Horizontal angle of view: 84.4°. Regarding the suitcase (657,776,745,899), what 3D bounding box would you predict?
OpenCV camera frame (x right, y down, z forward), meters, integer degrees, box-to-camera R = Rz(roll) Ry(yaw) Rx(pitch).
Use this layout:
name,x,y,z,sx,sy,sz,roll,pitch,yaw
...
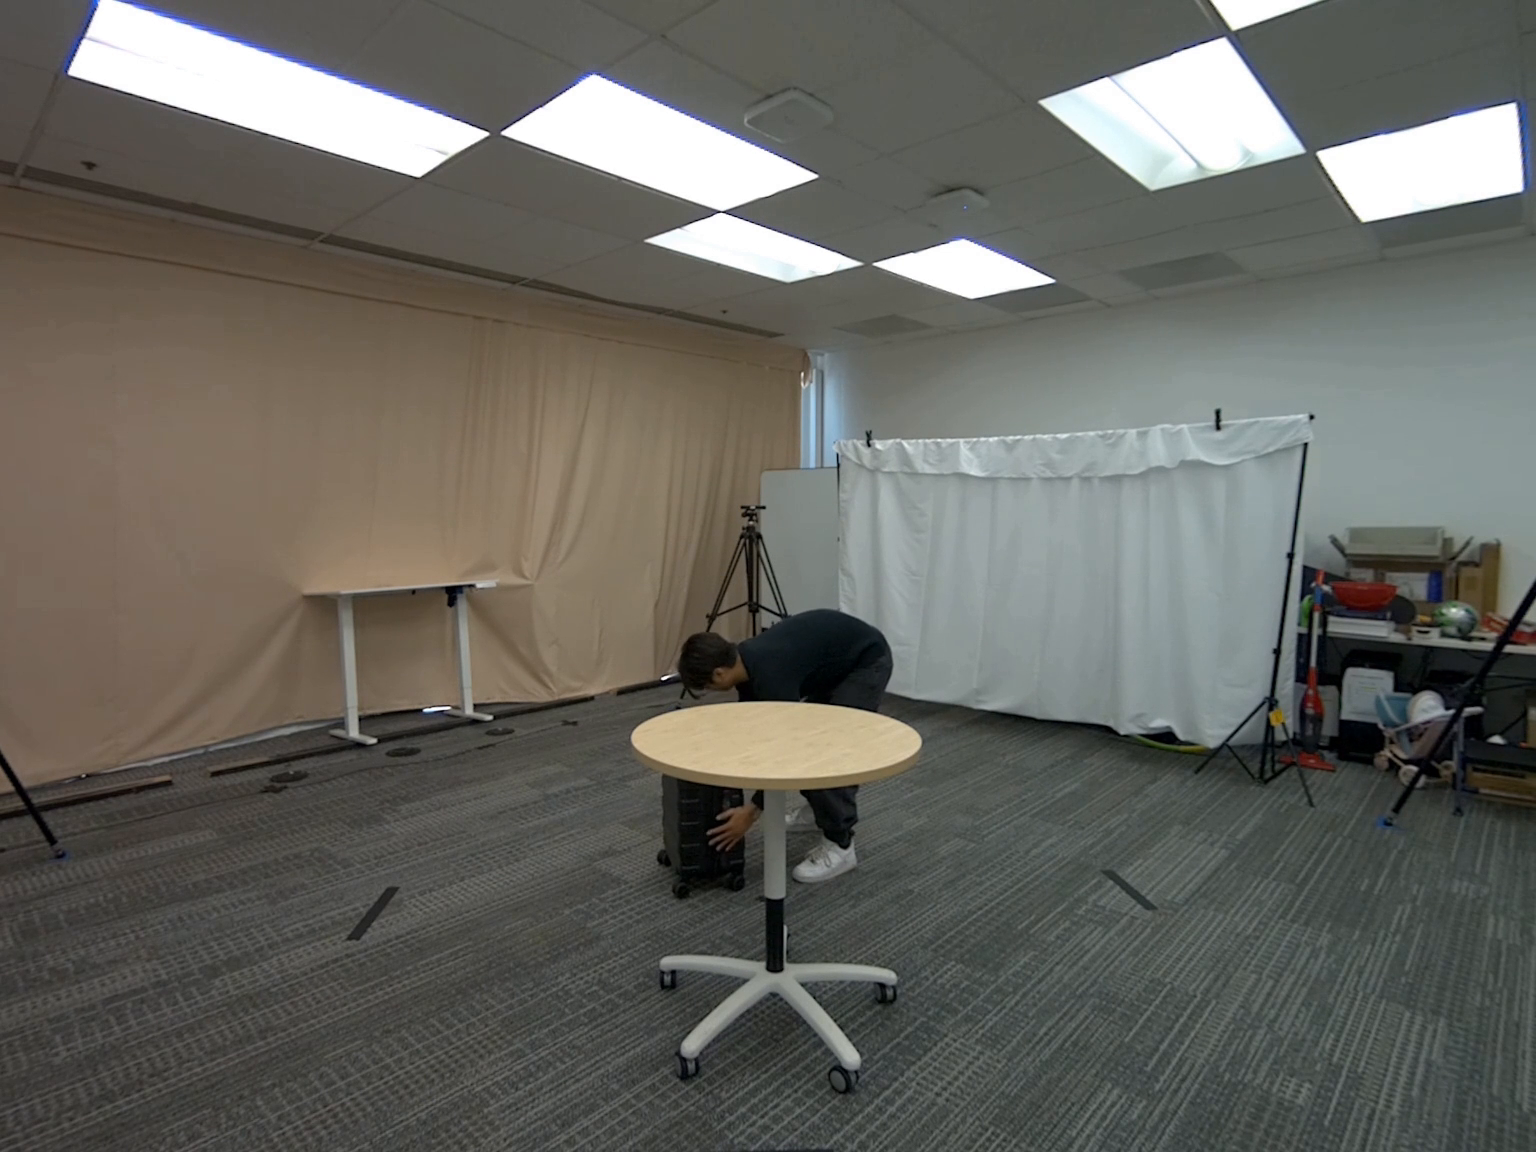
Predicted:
name,x,y,z,sx,sy,sz,roll,pitch,yaw
suitcase,-0.246,0.860,3.170,0.244,0.548,0.382,-3,3,-18
